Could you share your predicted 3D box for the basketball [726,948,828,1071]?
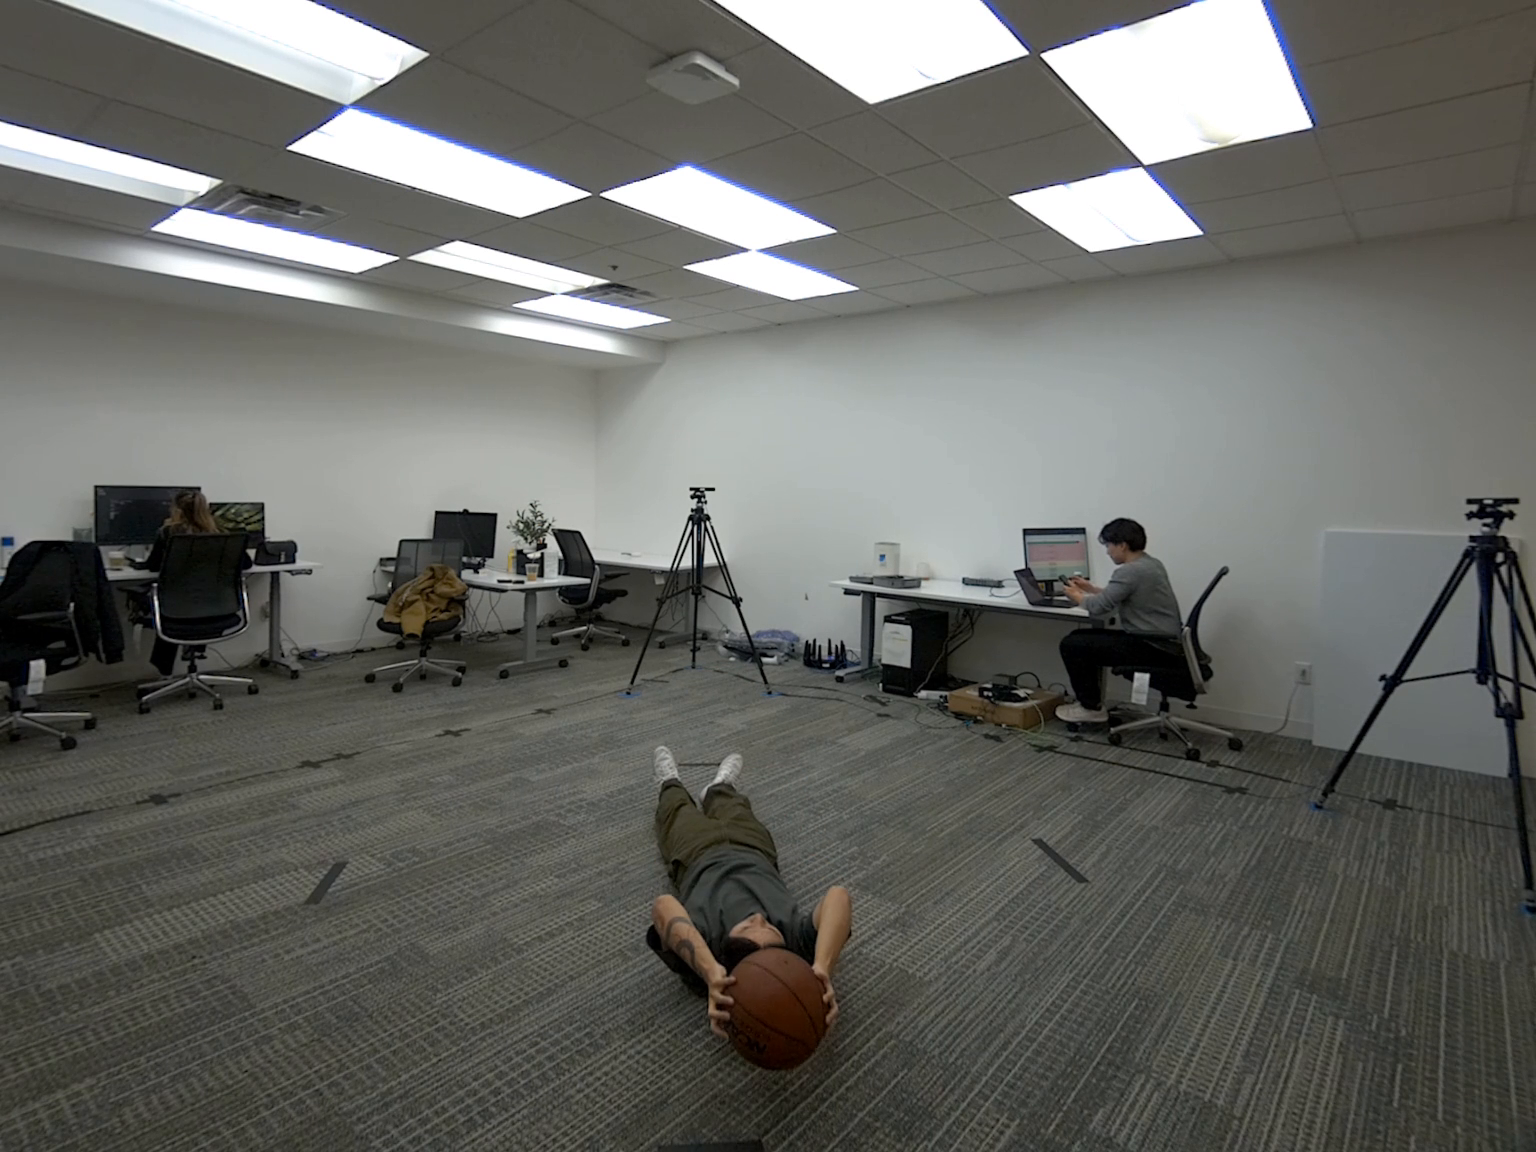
[{"bbox_3d":[0.003,0.961,1.913,0.235,0.235,0.237,1,4,-2],"label":"basketball"}]
